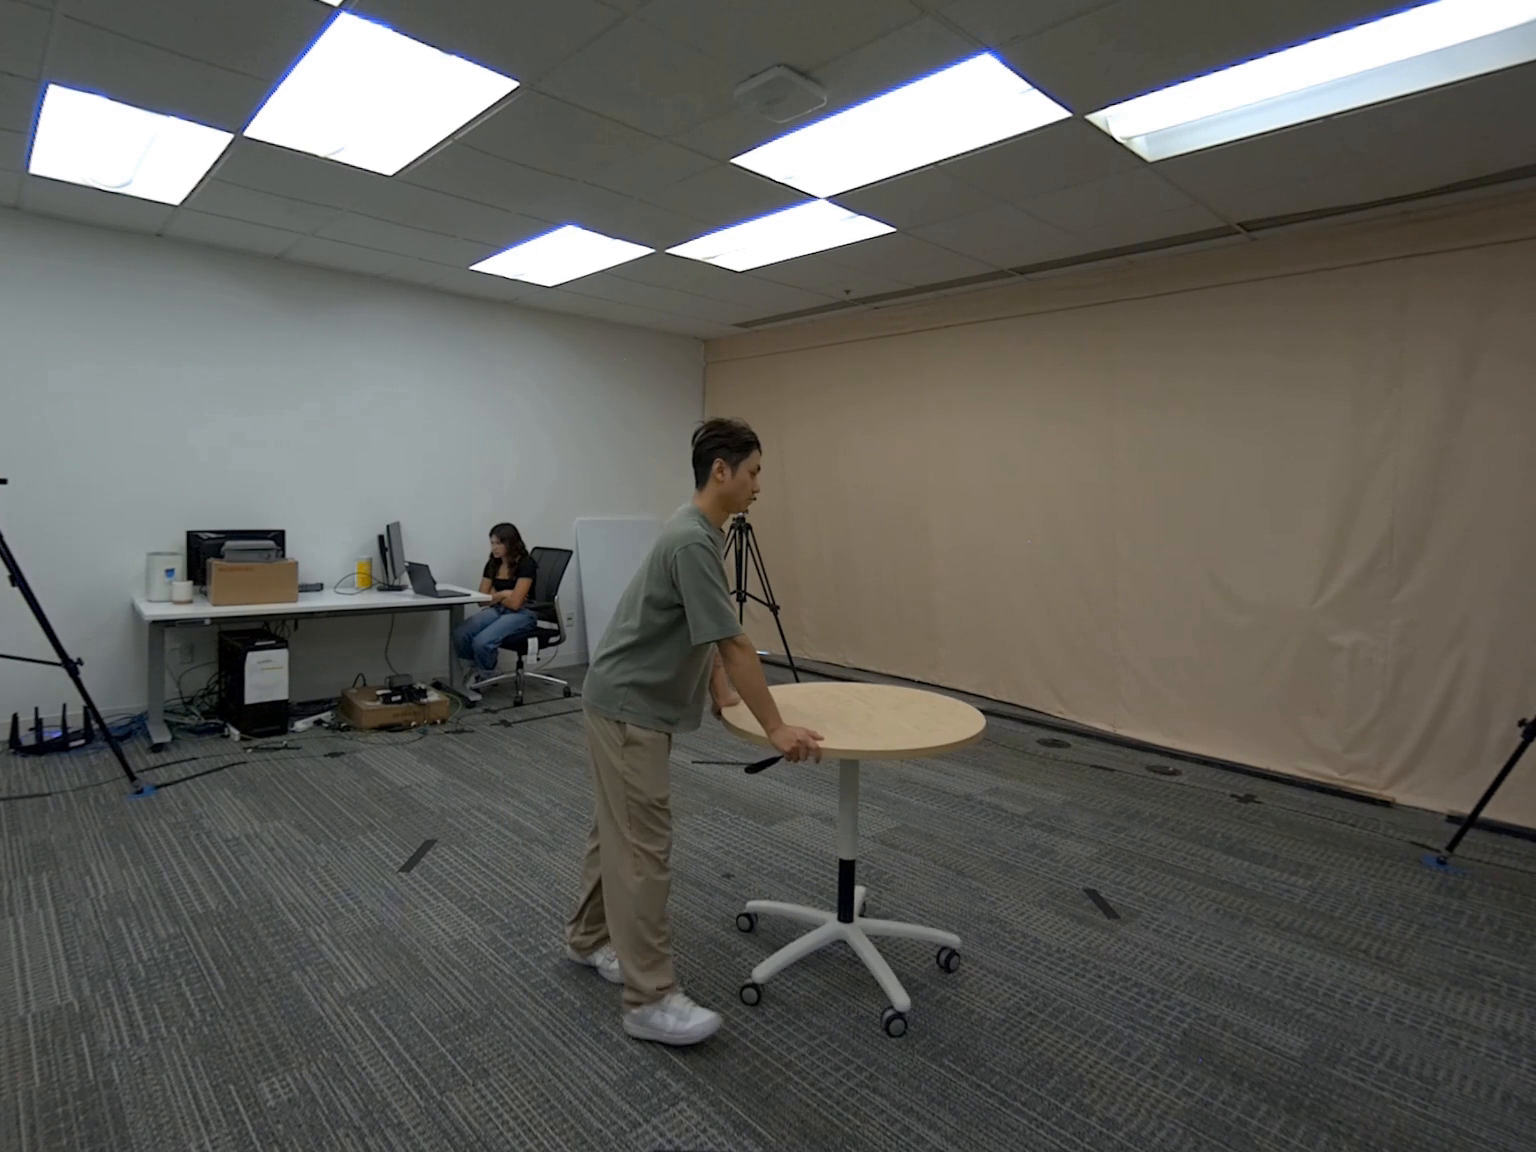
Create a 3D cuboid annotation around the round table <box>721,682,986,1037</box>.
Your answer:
[{"bbox_3d":[0.238,0.782,2.508,0.784,0.784,0.788,0,4,-1],"label":"round table"}]
